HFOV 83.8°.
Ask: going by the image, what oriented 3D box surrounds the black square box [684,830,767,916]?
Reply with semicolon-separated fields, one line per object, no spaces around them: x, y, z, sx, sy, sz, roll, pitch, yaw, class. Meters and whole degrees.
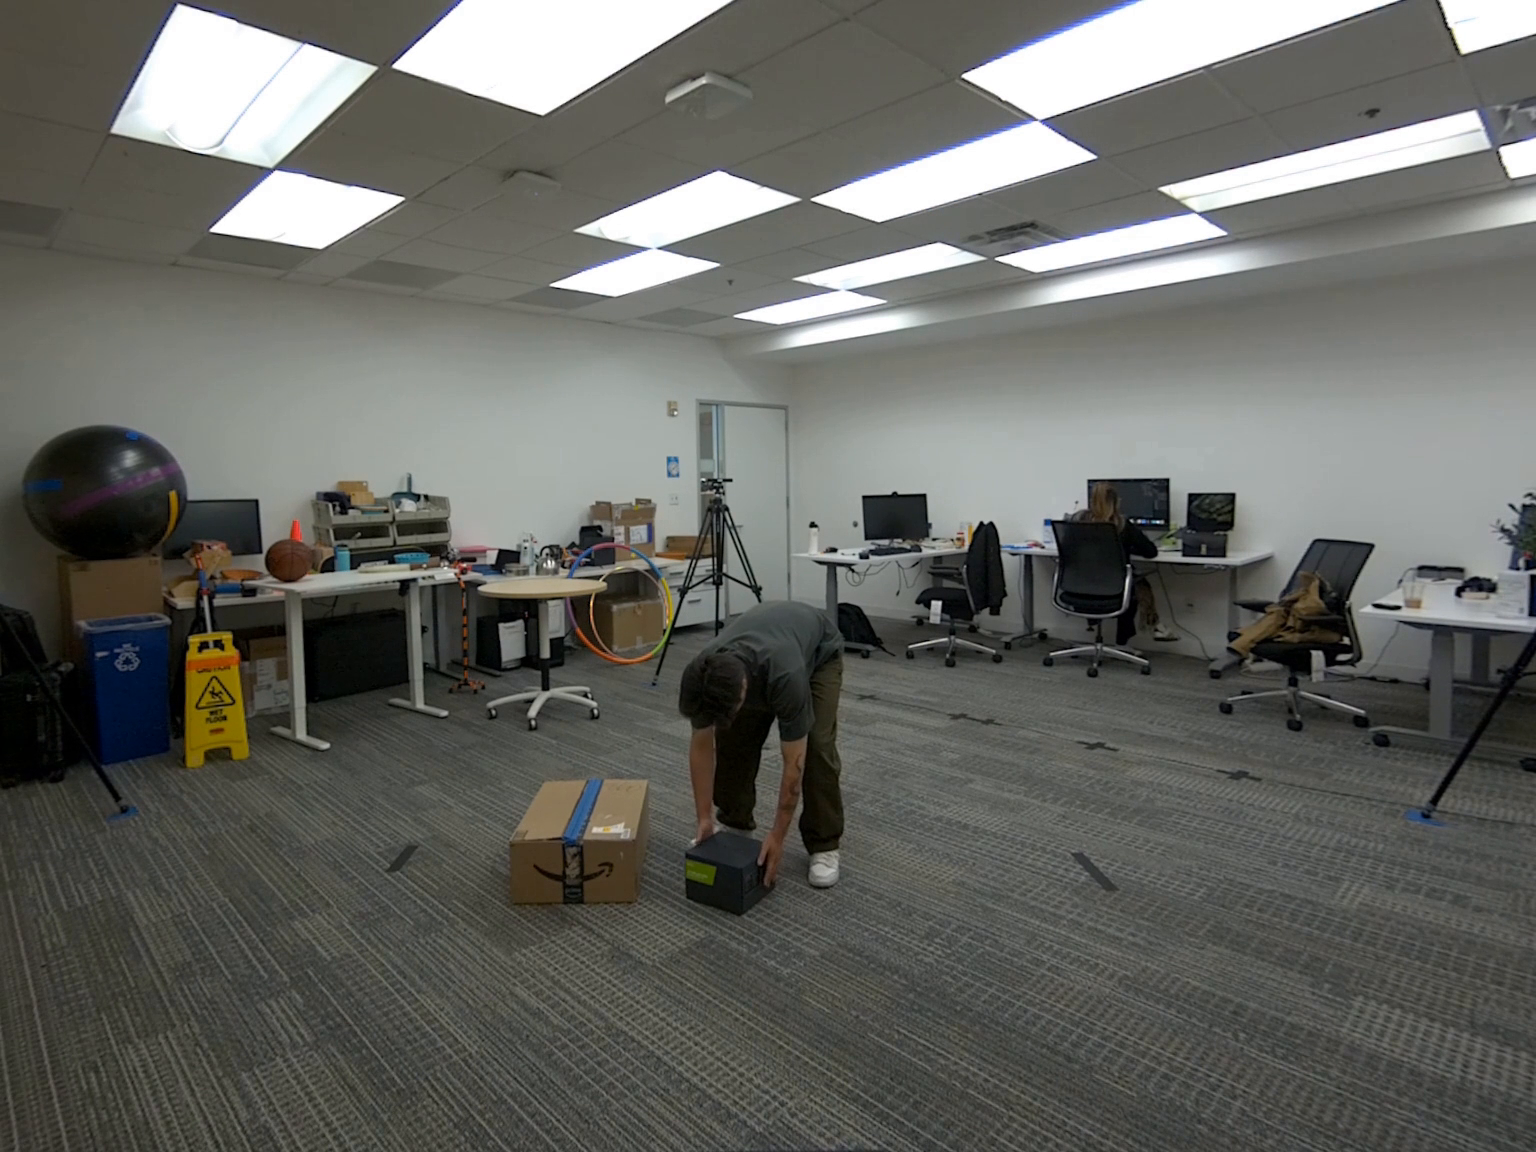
-0.130;0.991;2.875;0.234;0.155;0.212;3;8;32;black square box
